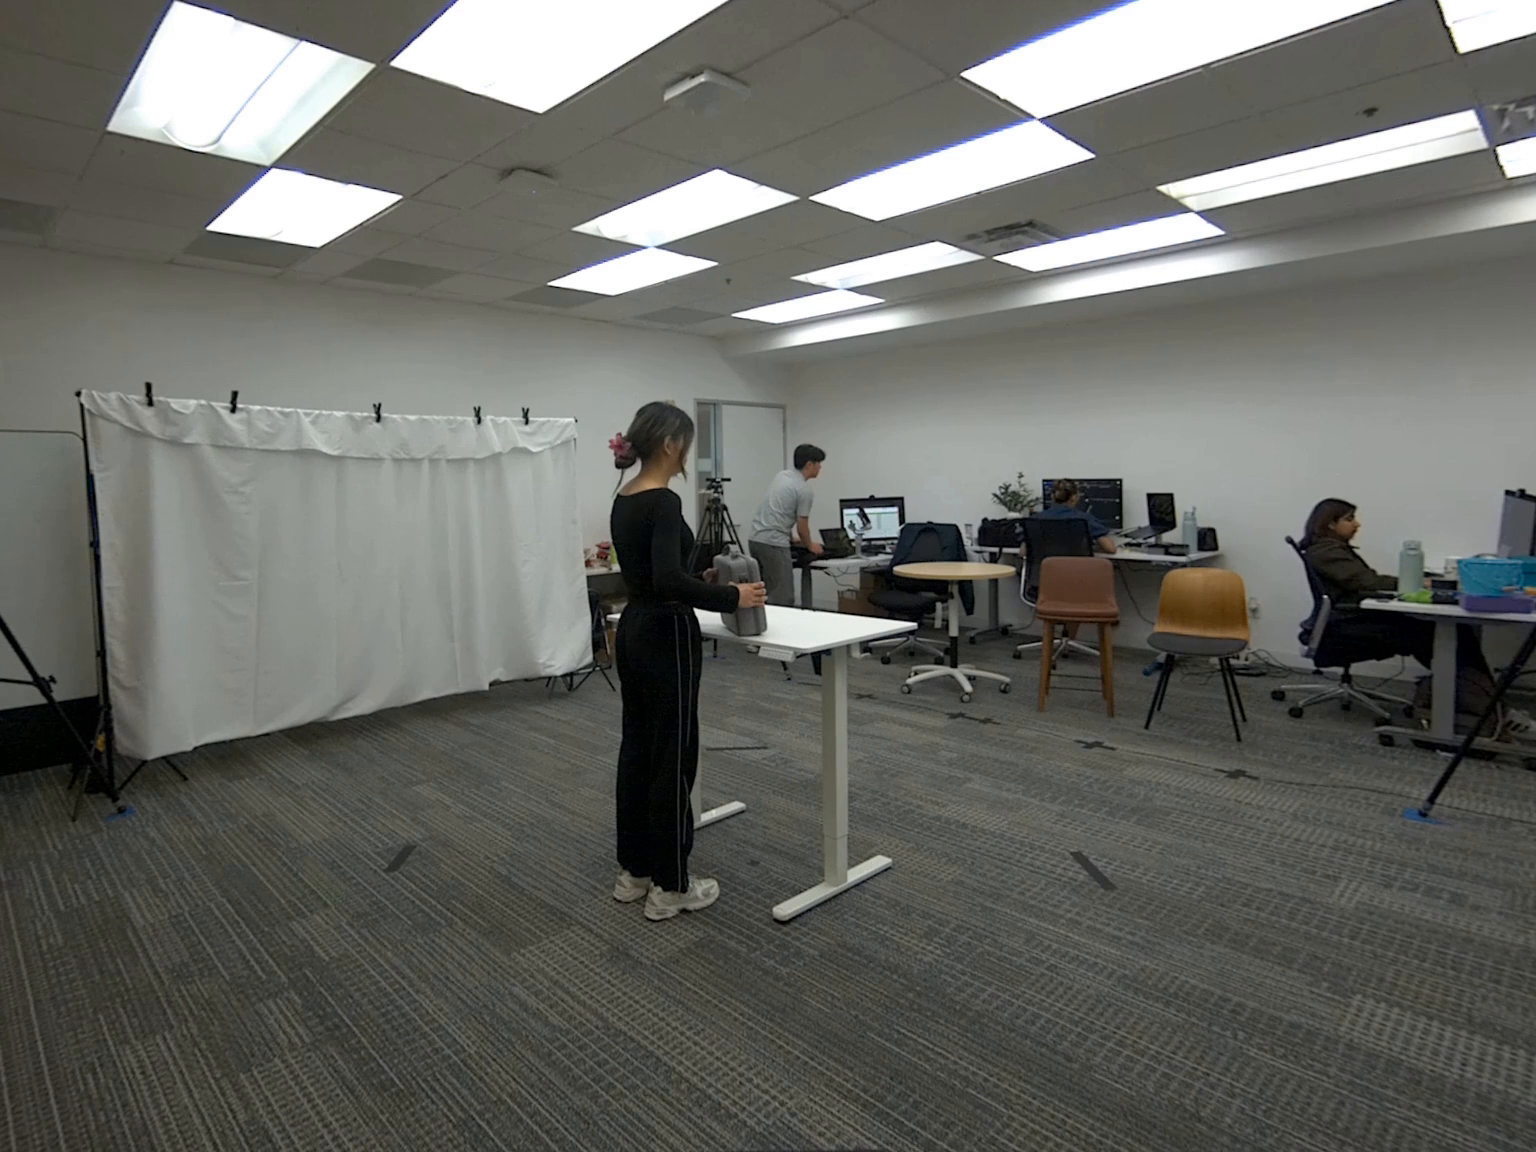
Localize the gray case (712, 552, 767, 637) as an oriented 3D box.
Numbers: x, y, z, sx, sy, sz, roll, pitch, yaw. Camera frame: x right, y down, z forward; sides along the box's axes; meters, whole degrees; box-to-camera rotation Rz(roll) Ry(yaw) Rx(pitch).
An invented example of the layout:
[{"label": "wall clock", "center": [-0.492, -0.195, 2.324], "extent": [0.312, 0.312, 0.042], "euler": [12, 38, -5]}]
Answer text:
[{"label": "gray case", "center": [-0.090, 0.055, 2.848], "extent": [0.103, 0.259, 0.261], "euler": [-8, 7, -14]}]
